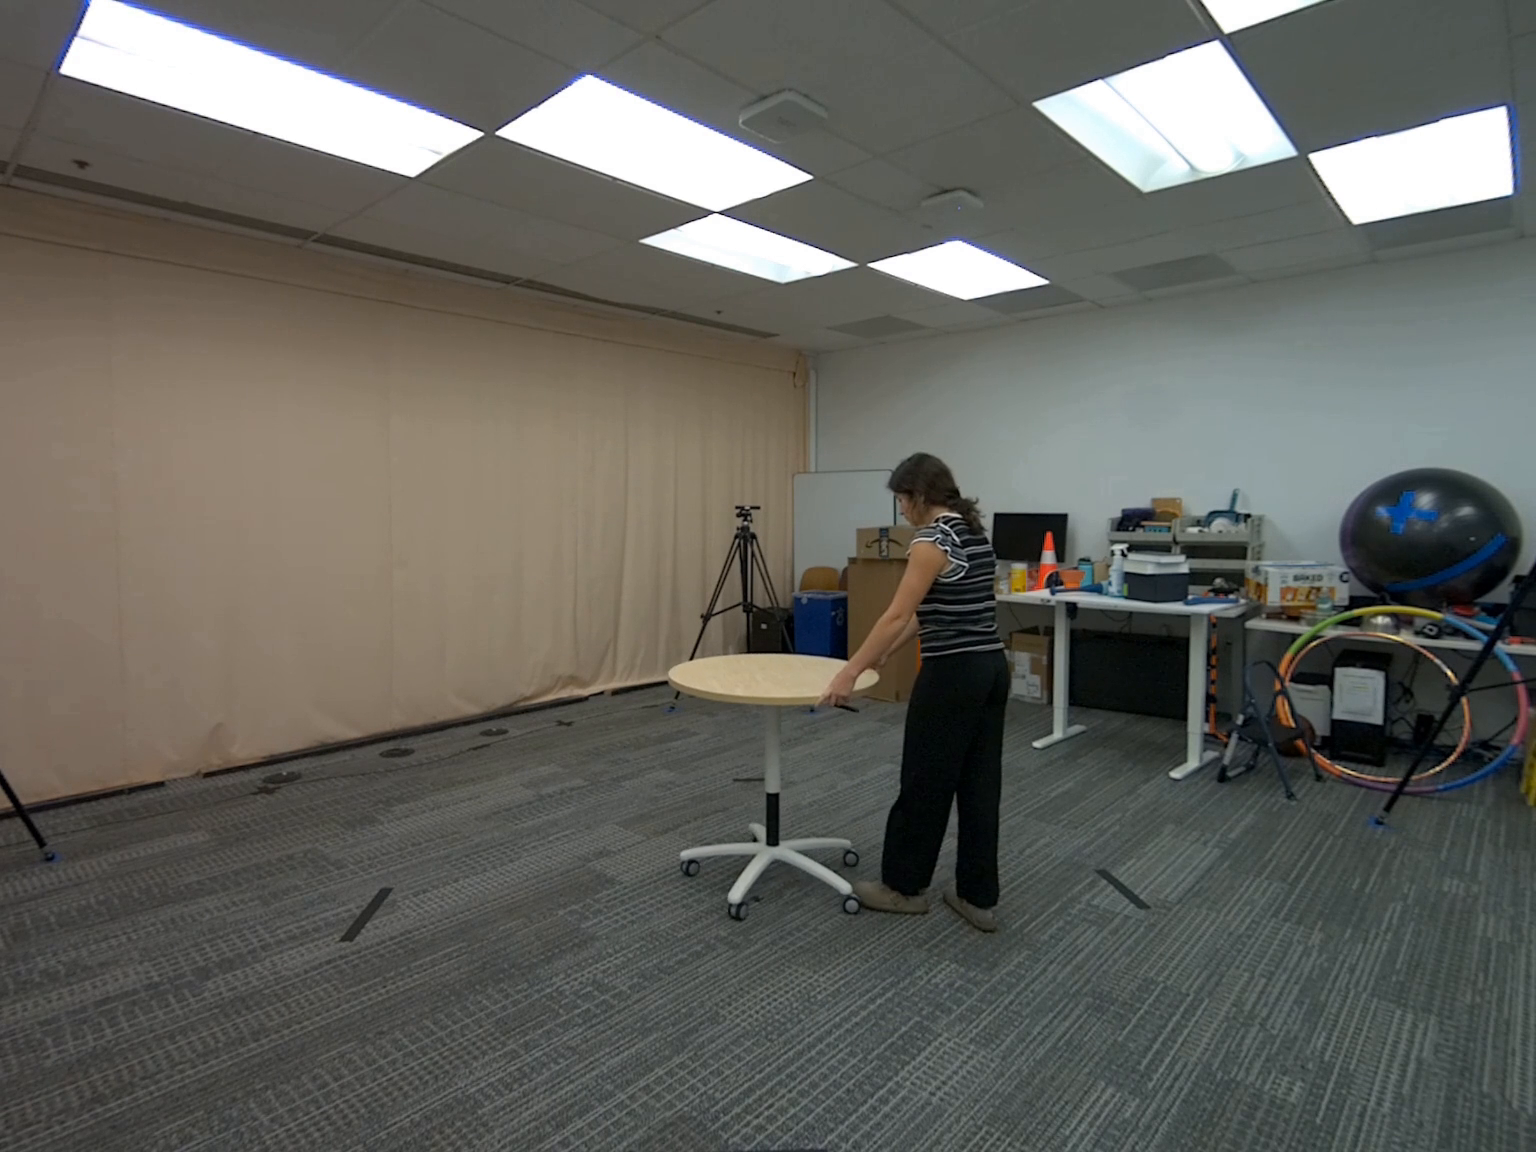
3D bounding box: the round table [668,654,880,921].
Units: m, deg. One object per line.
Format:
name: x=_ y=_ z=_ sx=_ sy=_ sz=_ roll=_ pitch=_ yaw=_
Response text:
round table: x=0.016 y=0.746 z=3.102 sx=0.763 sy=0.792 sz=0.767 roll=0 pitch=4 yaw=-2
